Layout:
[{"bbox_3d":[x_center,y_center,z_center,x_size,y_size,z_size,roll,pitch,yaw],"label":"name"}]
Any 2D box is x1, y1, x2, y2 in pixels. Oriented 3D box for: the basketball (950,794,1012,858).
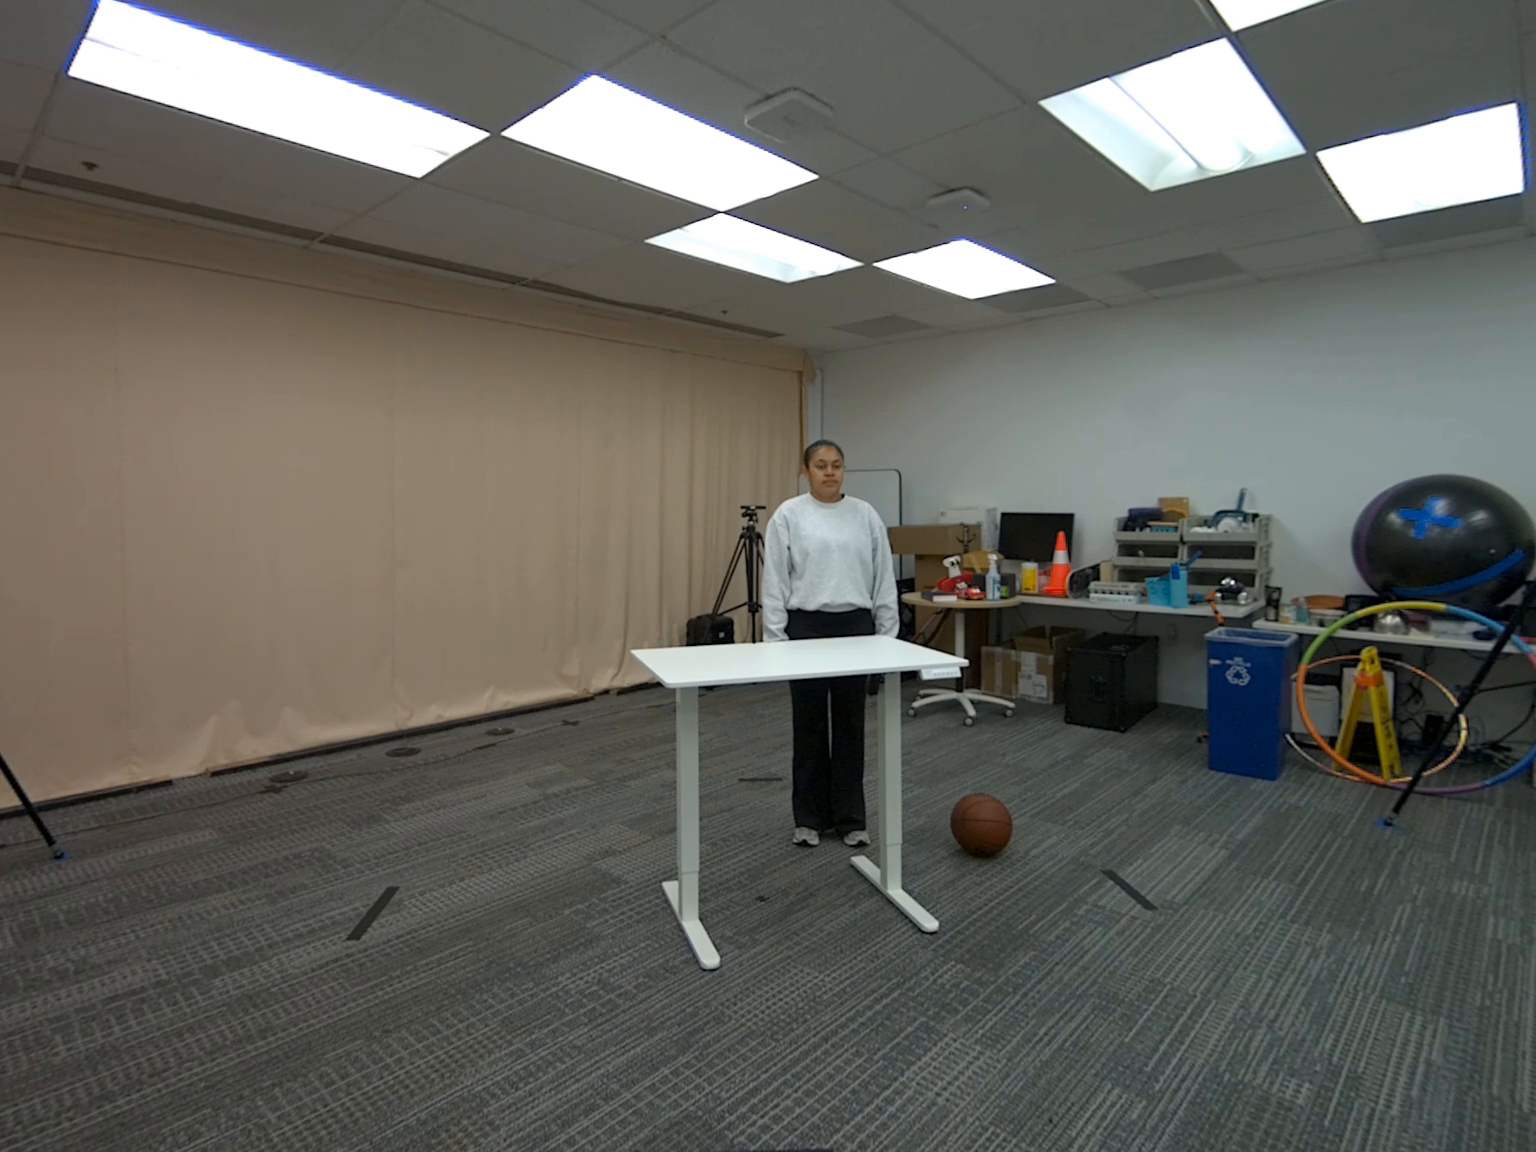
[{"bbox_3d":[0.854,0.990,3.367,0.236,0.235,0.237,0,4,-2],"label":"basketball"}]
